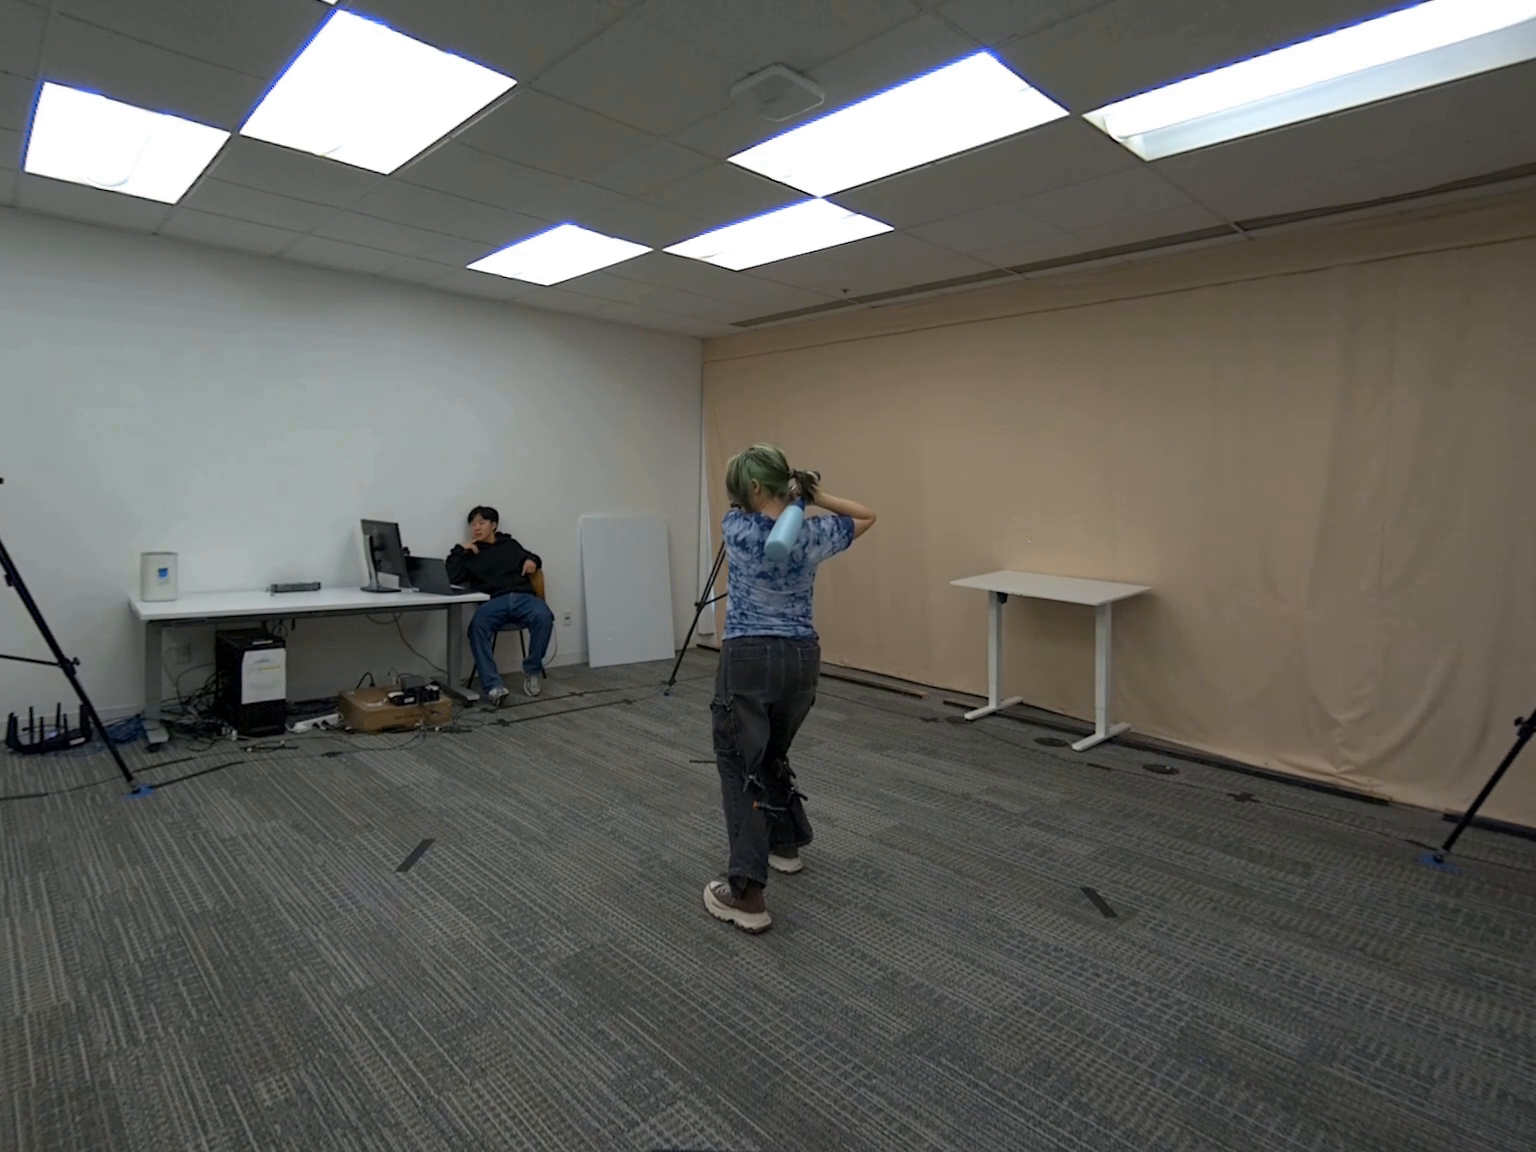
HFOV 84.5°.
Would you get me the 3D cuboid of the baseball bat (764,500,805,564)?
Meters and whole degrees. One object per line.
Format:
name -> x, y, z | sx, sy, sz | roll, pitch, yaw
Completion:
baseball bat -> 0.090, -0.222, 2.908 | 0.090, 0.087, 0.547 | 2, 34, 19
